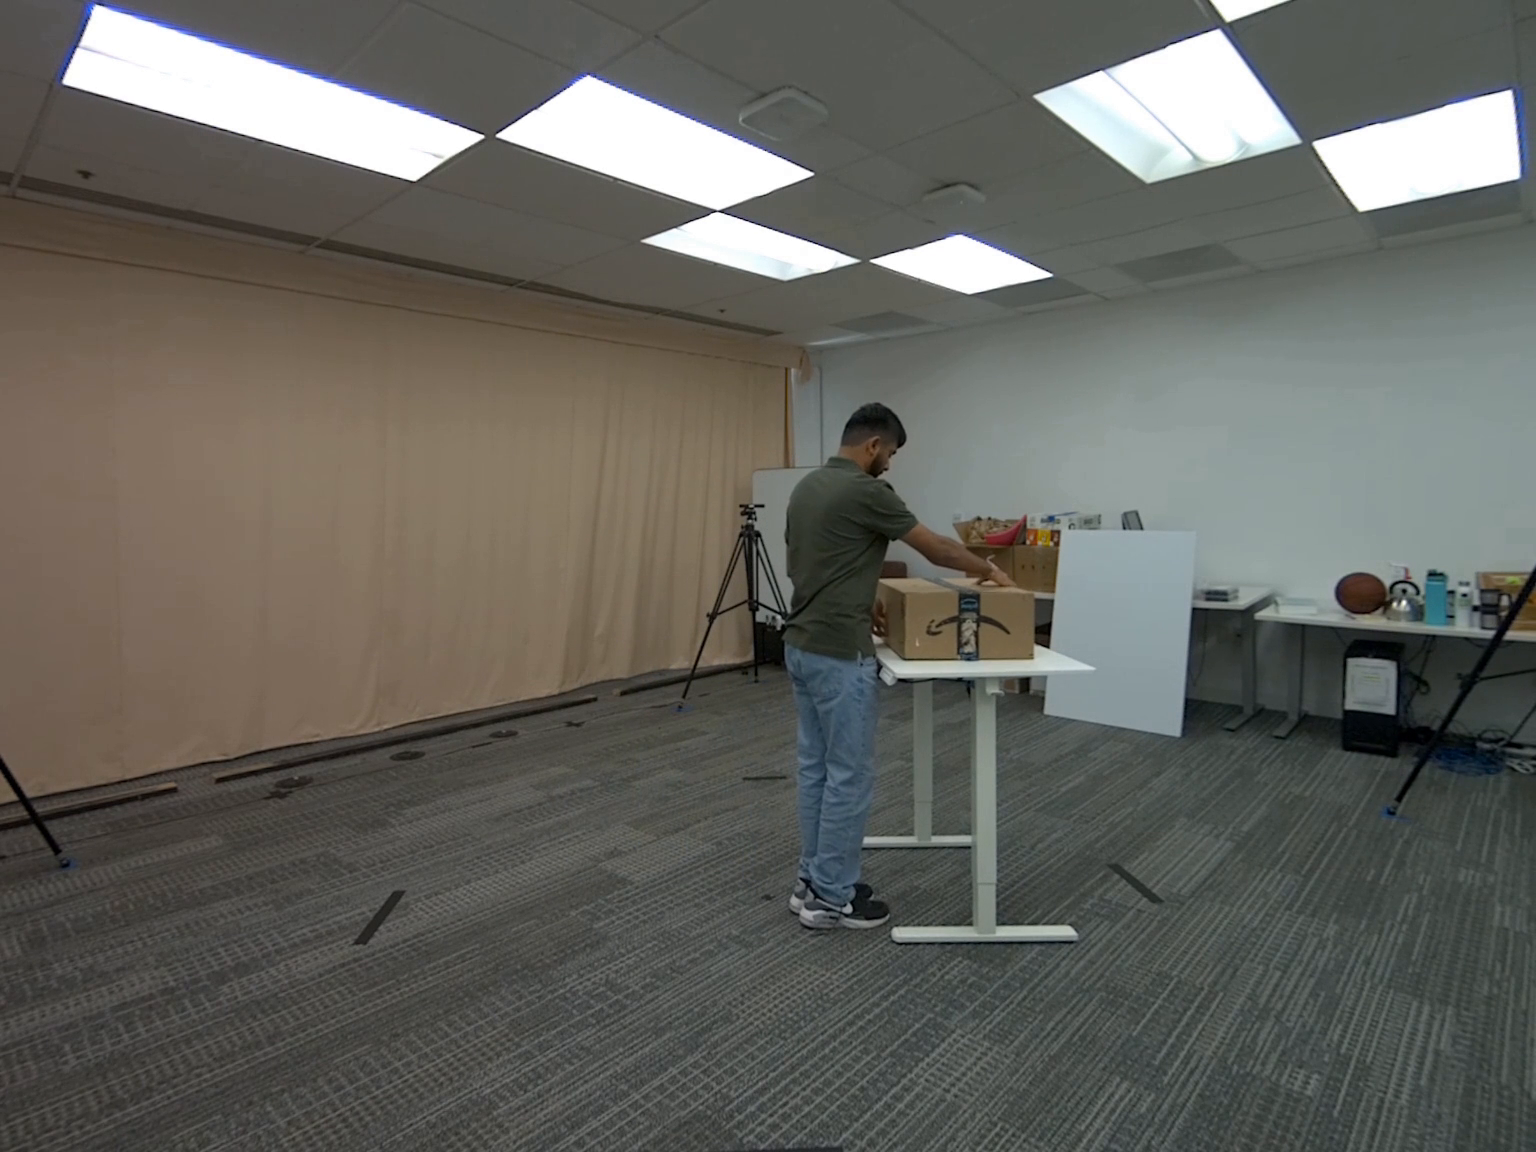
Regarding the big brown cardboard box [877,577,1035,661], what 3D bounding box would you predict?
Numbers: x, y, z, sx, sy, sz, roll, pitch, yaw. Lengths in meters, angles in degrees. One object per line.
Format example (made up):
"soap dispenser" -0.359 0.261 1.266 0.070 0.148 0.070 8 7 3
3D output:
"big brown cardboard box" 0.634 0.140 2.954 0.418 0.232 0.590 0 5 0
